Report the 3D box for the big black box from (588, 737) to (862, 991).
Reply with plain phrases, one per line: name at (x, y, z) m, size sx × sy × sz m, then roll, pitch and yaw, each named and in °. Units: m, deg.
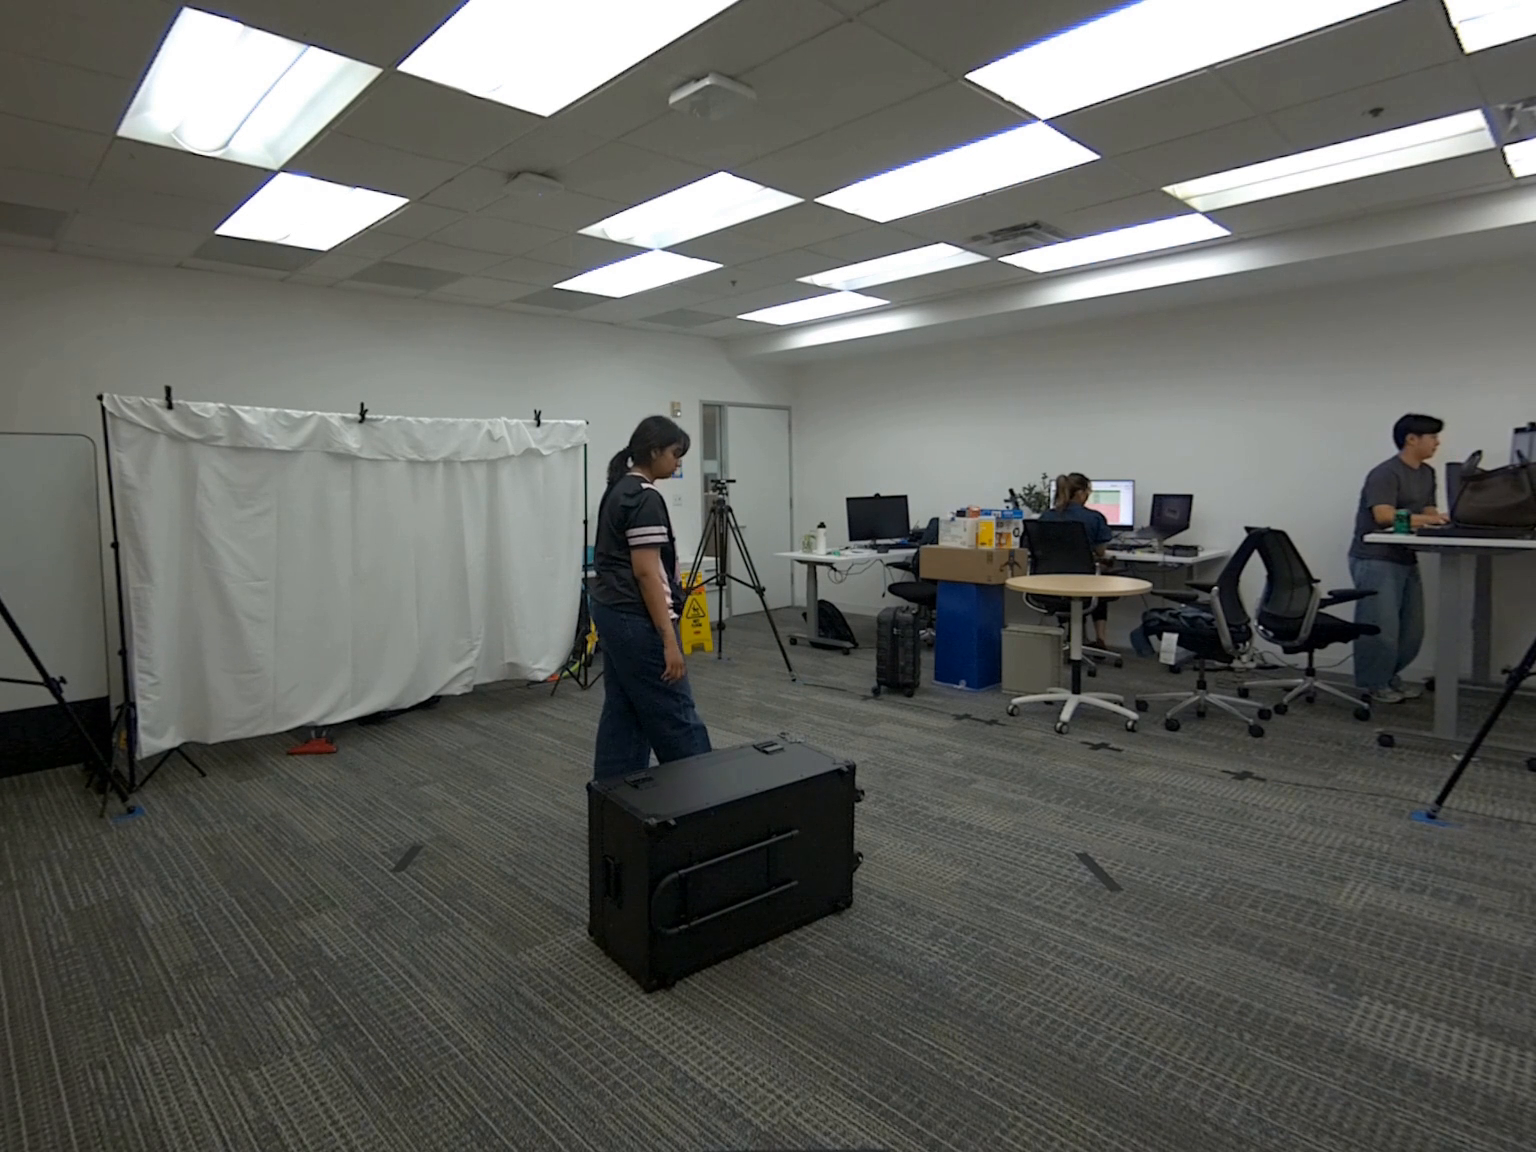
big black box at (-0.096, 0.840, 2.692) m, size 0.846 × 0.521 × 0.397 m, roll -5°, pitch 7°, yaw -38°
